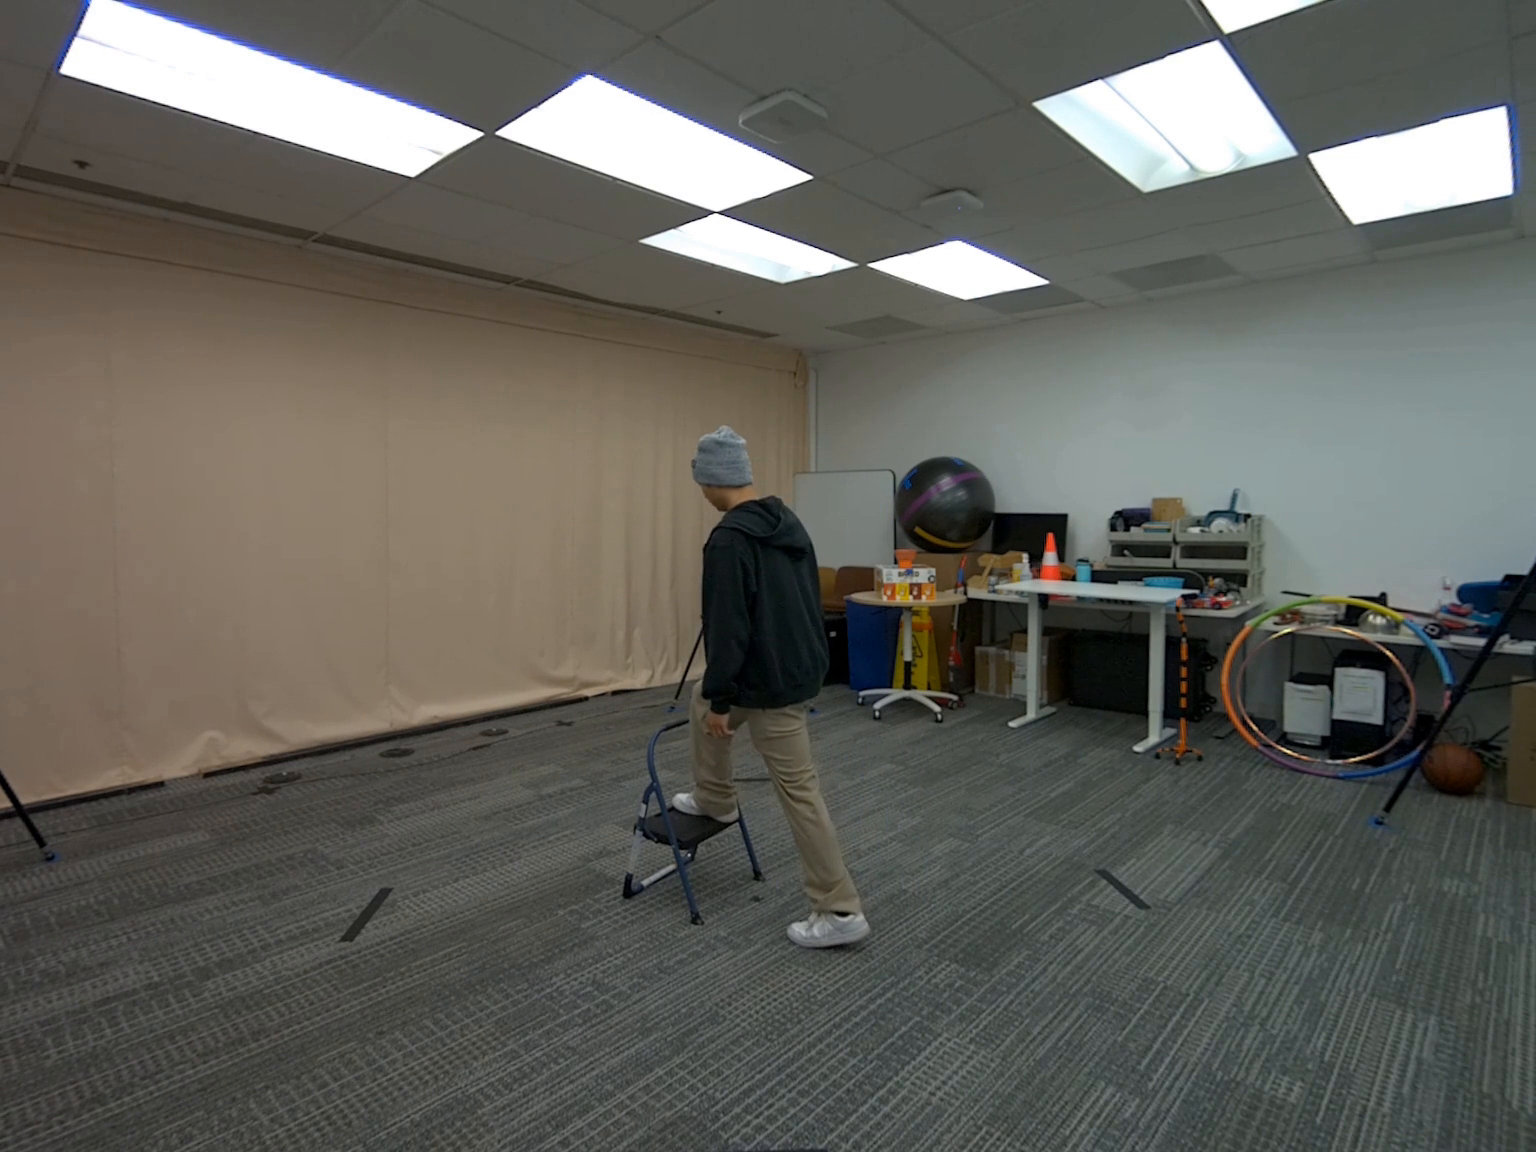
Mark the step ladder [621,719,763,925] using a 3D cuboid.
[{"bbox_3d":[-0.269,0.838,3.055,0.360,0.605,0.419,1,3,32],"label":"step ladder"}]
